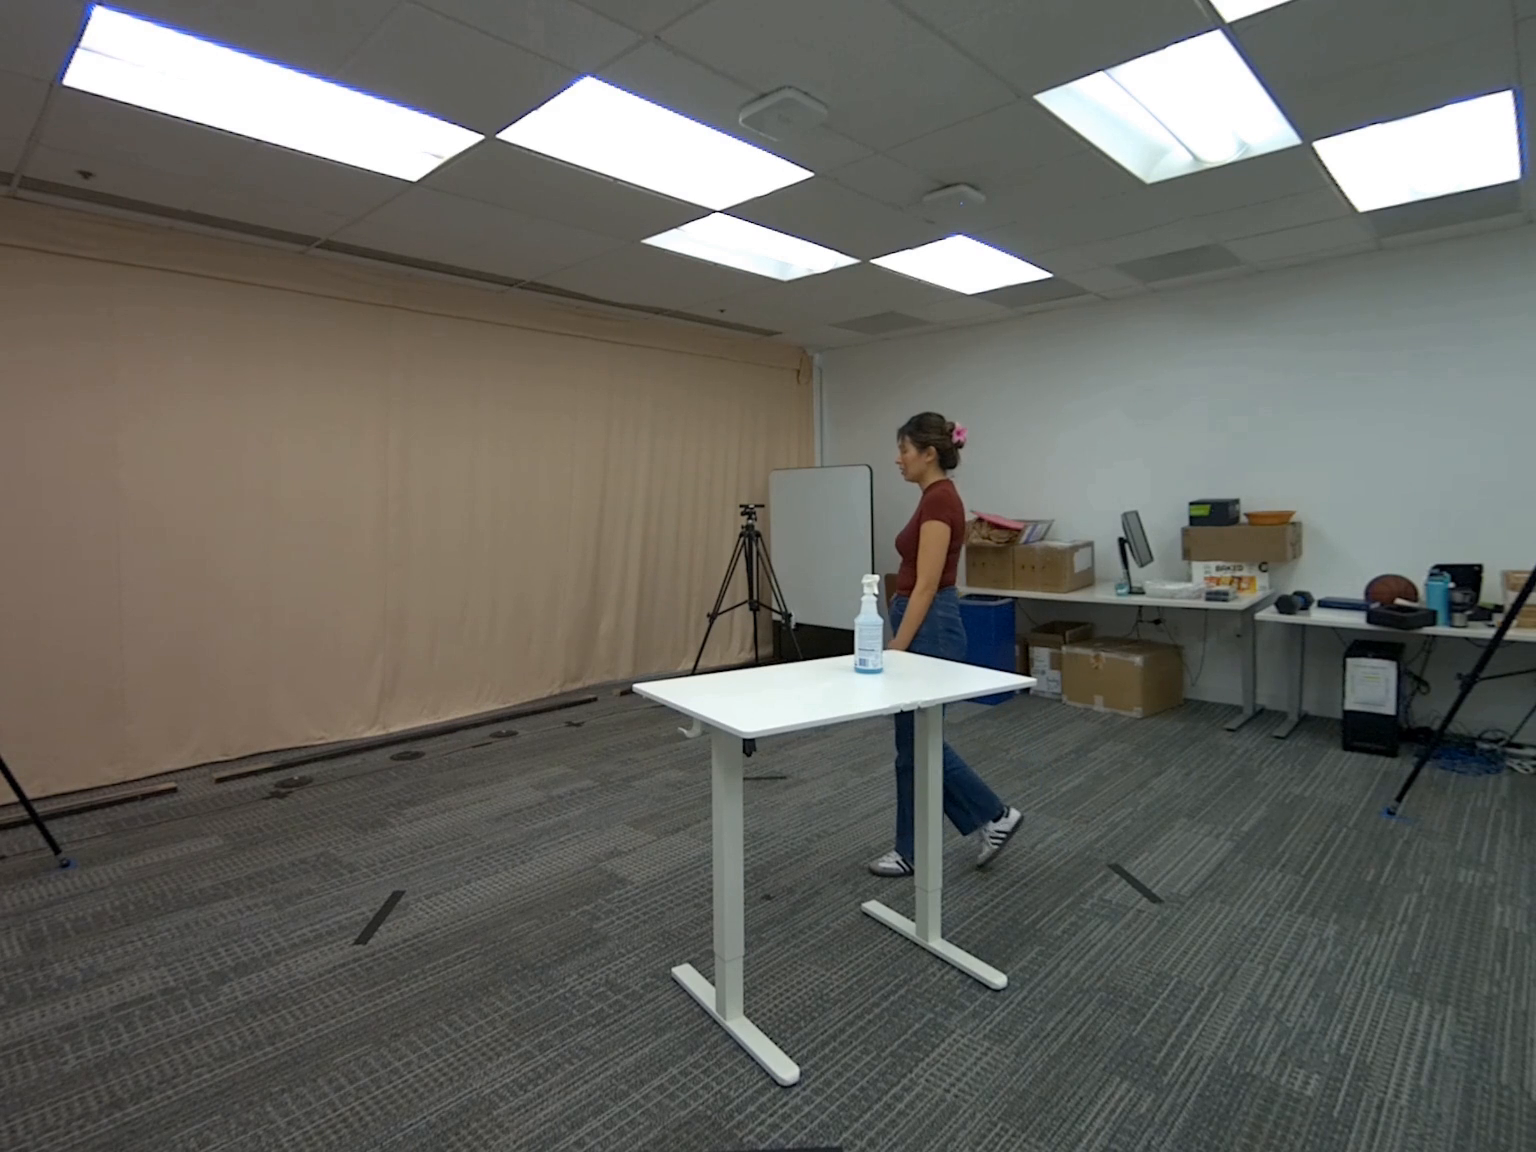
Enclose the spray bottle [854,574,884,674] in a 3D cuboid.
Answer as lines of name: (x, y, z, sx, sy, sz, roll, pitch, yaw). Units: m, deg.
spray bottle: (0.315, 0.146, 2.535, 0.088, 0.296, 0.090, 0, 4, 5)
